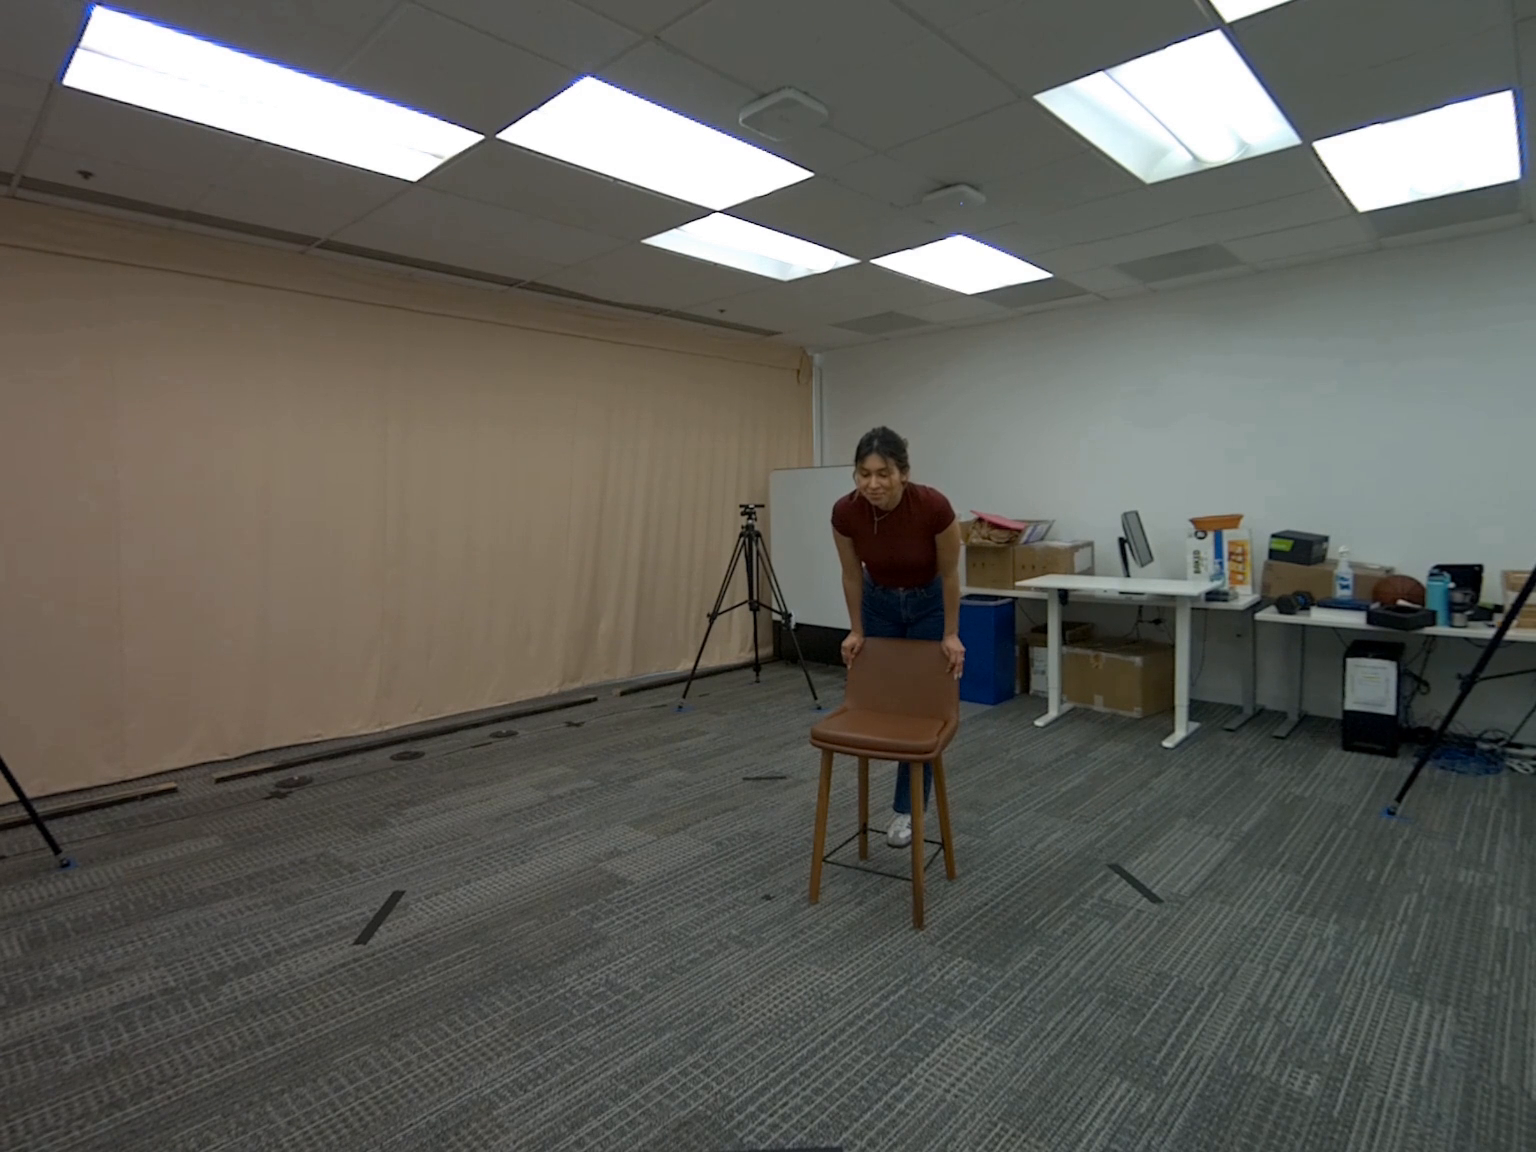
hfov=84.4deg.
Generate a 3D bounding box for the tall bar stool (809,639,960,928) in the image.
[{"bbox_3d":[0.428,0.692,3.008,0.470,0.889,0.454,2,2,31],"label":"tall bar stool"}]
